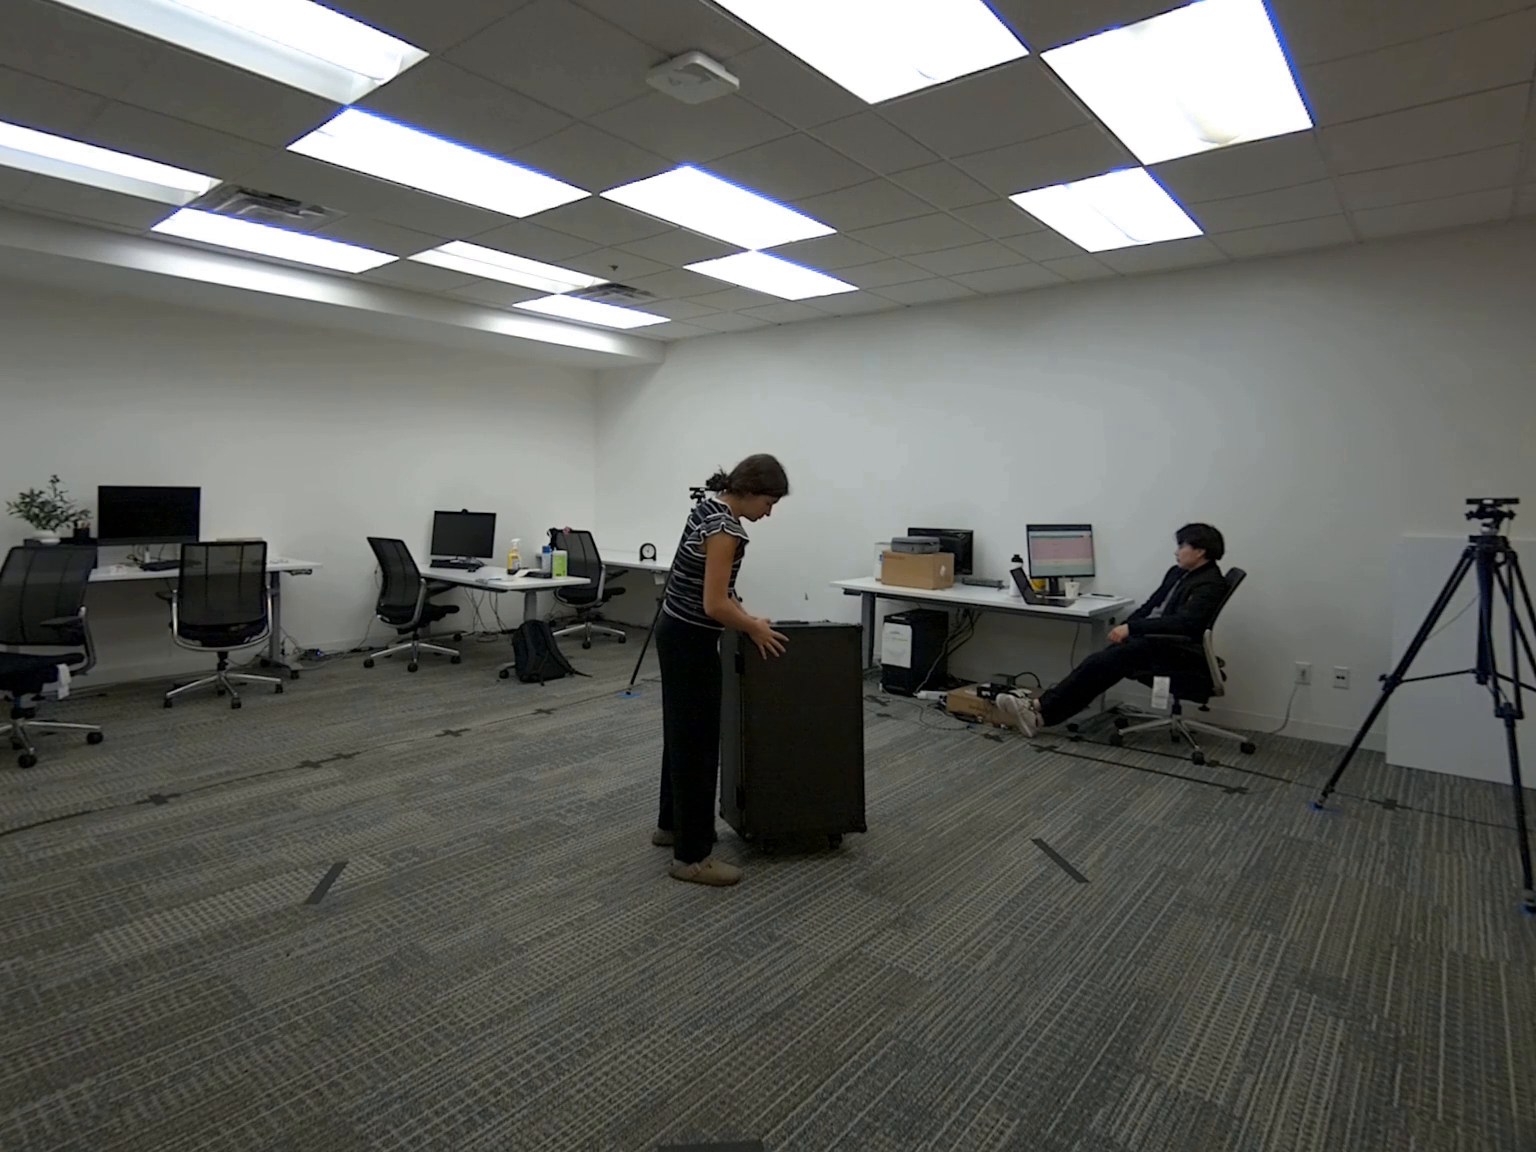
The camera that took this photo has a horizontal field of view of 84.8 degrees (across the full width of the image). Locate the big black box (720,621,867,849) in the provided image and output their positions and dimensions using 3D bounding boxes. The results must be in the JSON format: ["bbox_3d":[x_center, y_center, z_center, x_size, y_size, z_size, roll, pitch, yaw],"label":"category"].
[{"bbox_3d":[0.076,0.616,3.375,0.513,0.866,0.400,1,-5,-15],"label":"big black box"}]
